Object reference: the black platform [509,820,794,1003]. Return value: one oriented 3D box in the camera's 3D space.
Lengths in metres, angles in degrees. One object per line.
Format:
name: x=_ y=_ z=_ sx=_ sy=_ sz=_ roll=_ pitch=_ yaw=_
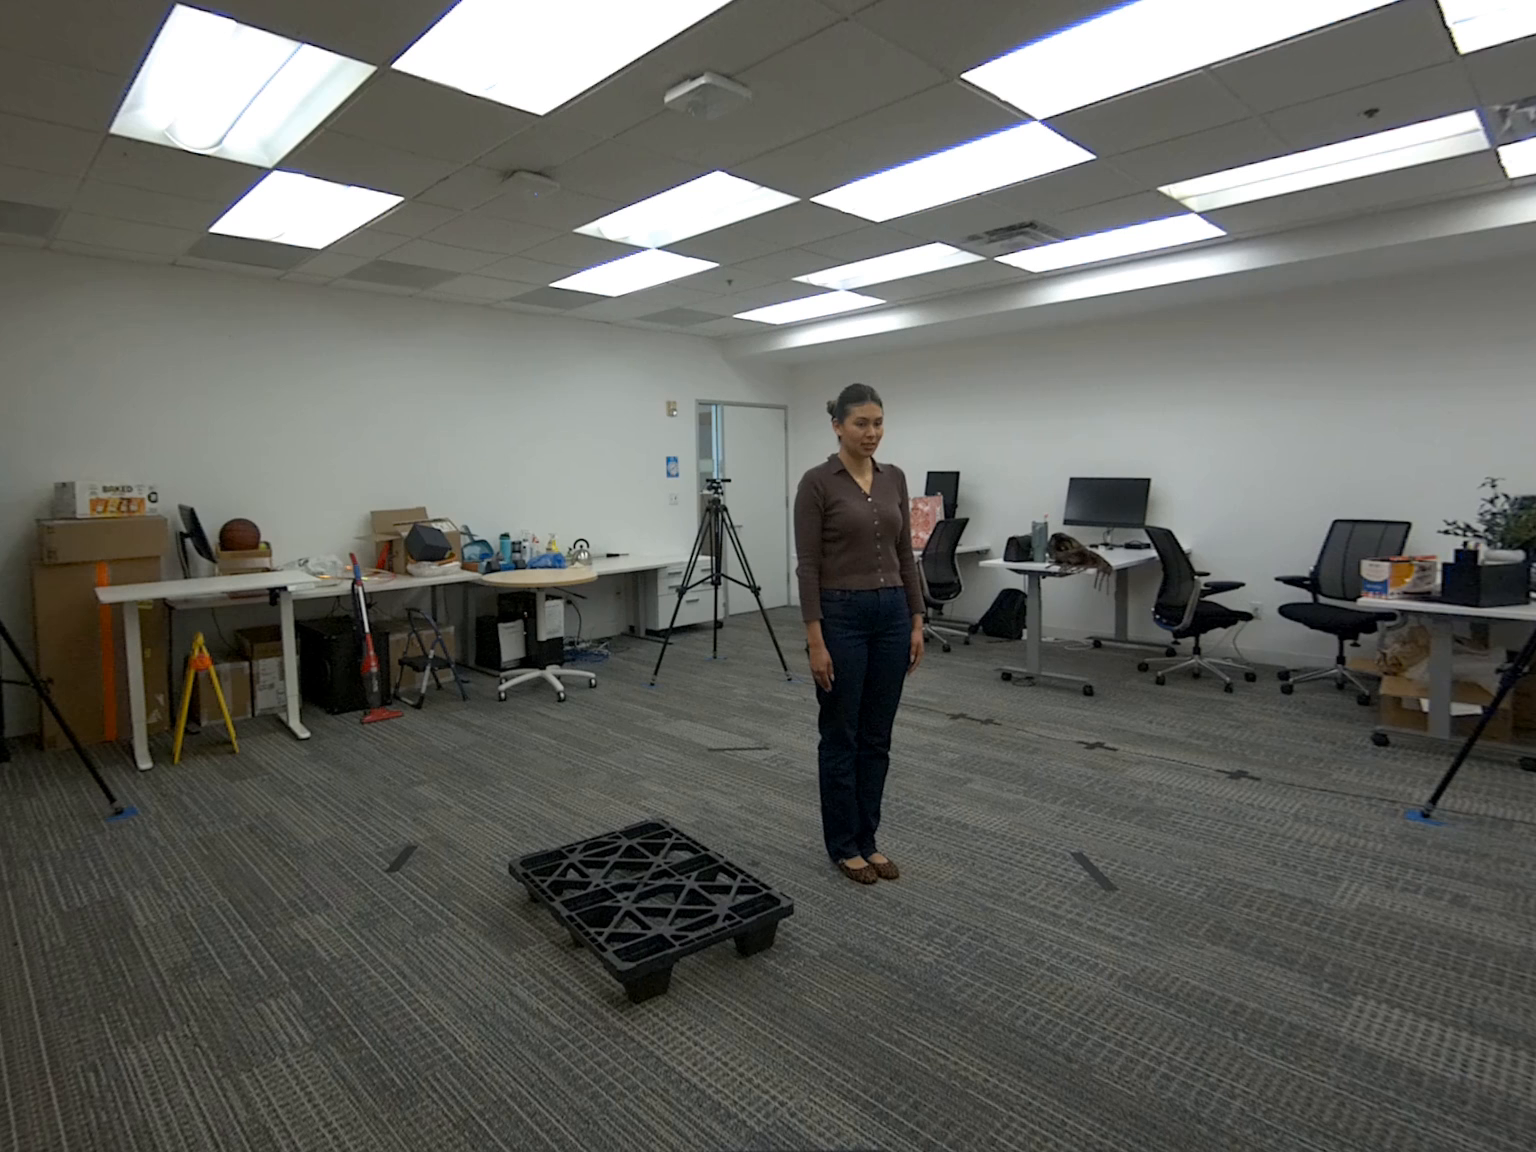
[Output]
black platform: x=-0.390 y=1.029 z=2.716 sx=0.590 sy=0.142 sz=0.830 roll=-6 pitch=8 yaw=-36
